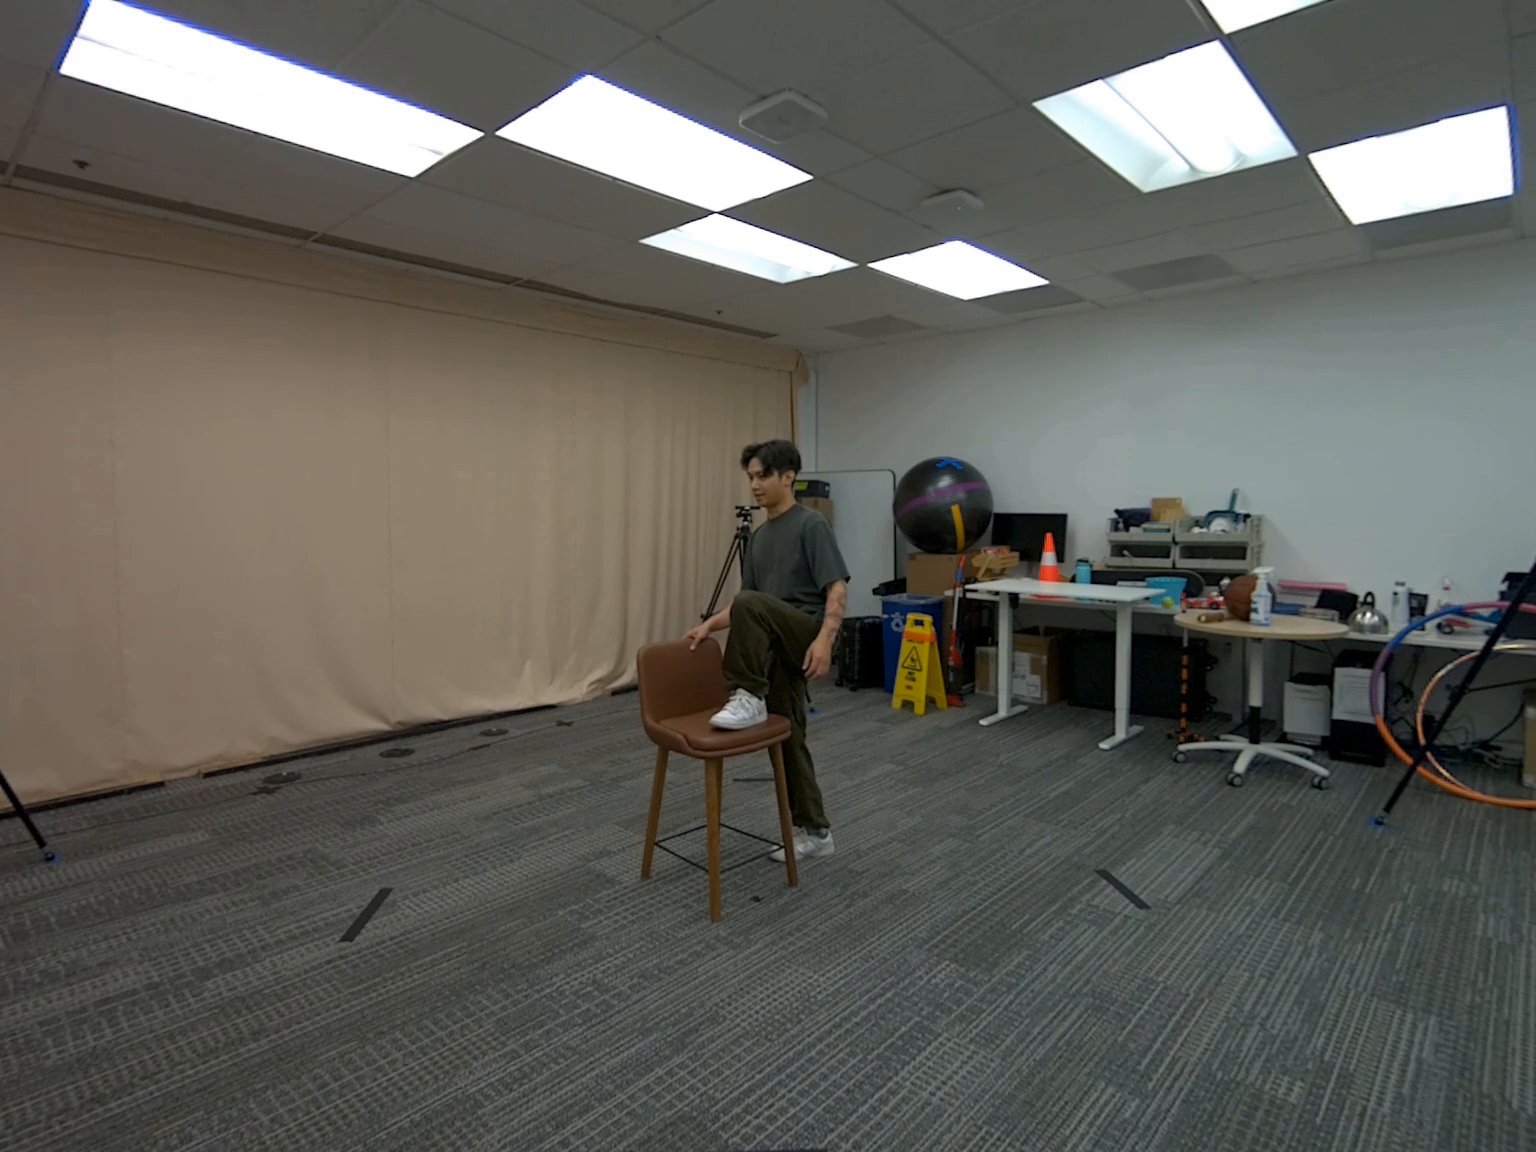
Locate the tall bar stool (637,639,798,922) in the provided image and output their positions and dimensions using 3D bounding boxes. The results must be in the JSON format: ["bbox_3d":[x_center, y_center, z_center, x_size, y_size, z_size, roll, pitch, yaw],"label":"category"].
[{"bbox_3d":[-0.198,0.699,3.092,0.443,0.888,0.483,-4,3,-42],"label":"tall bar stool"}]
